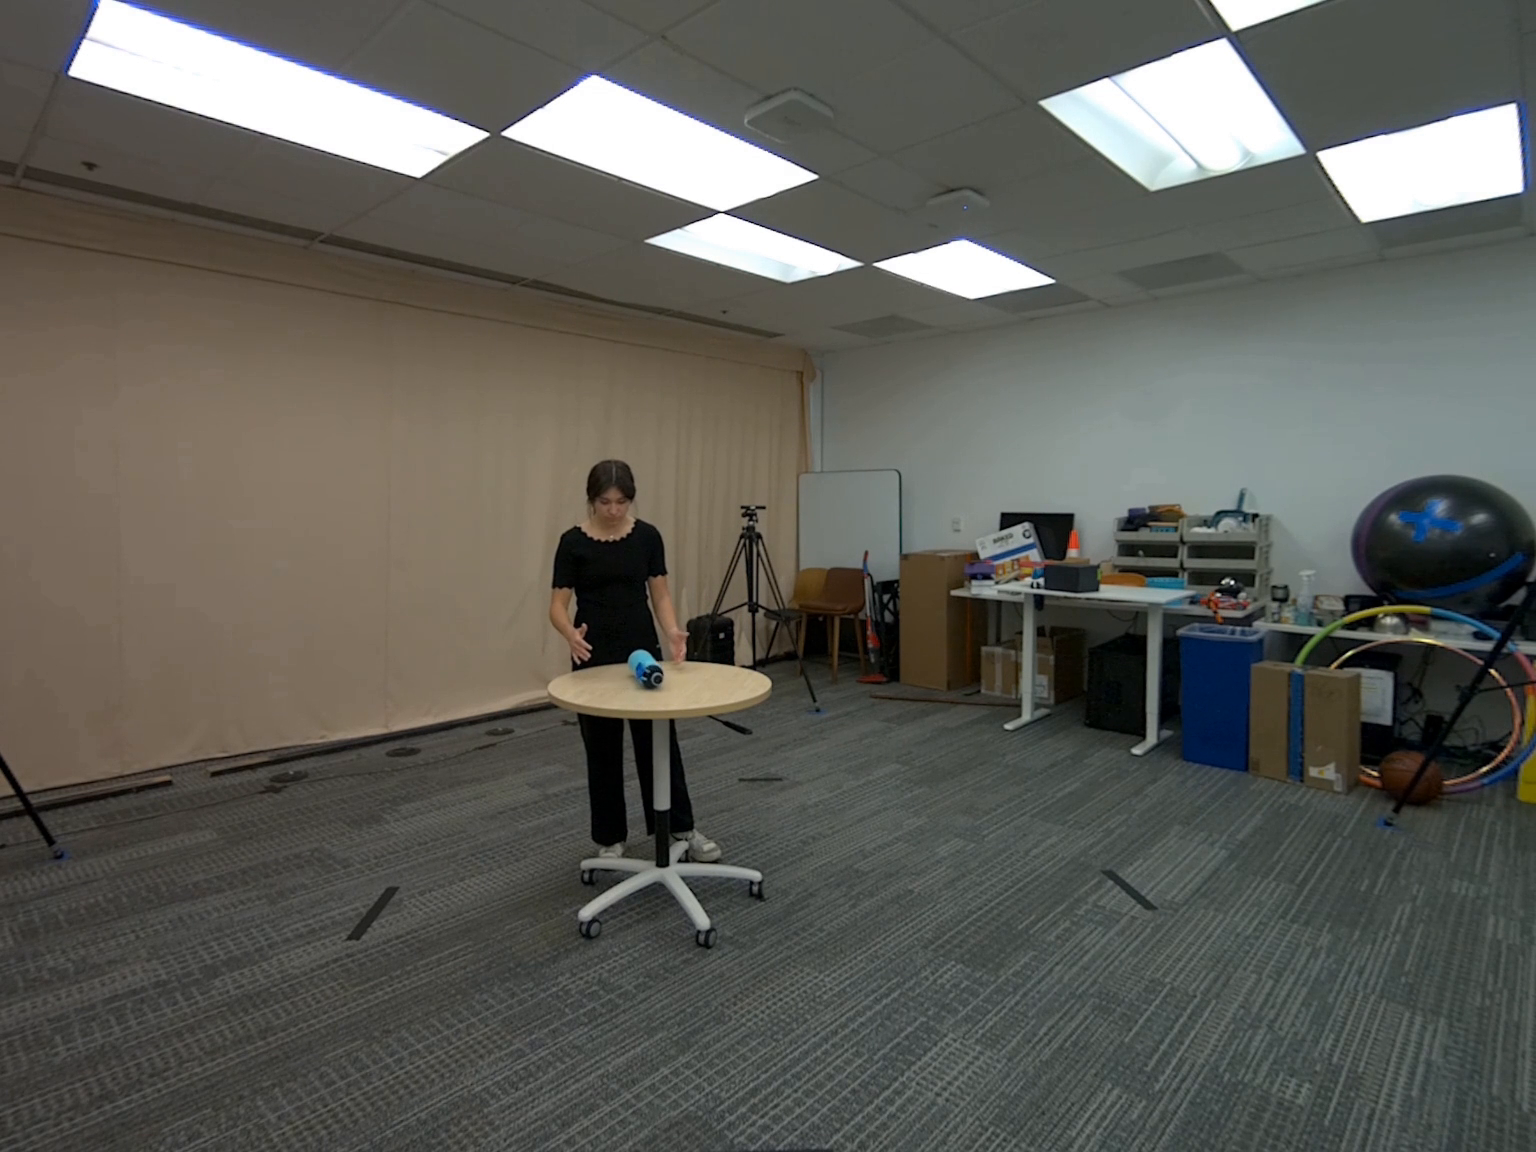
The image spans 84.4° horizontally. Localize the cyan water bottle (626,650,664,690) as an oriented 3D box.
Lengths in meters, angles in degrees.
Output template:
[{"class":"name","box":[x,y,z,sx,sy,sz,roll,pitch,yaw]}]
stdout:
[{"class":"cyan water bottle","box":[-0.412,0.322,2.906,0.091,0.092,0.288,-1,6,-15]}]
